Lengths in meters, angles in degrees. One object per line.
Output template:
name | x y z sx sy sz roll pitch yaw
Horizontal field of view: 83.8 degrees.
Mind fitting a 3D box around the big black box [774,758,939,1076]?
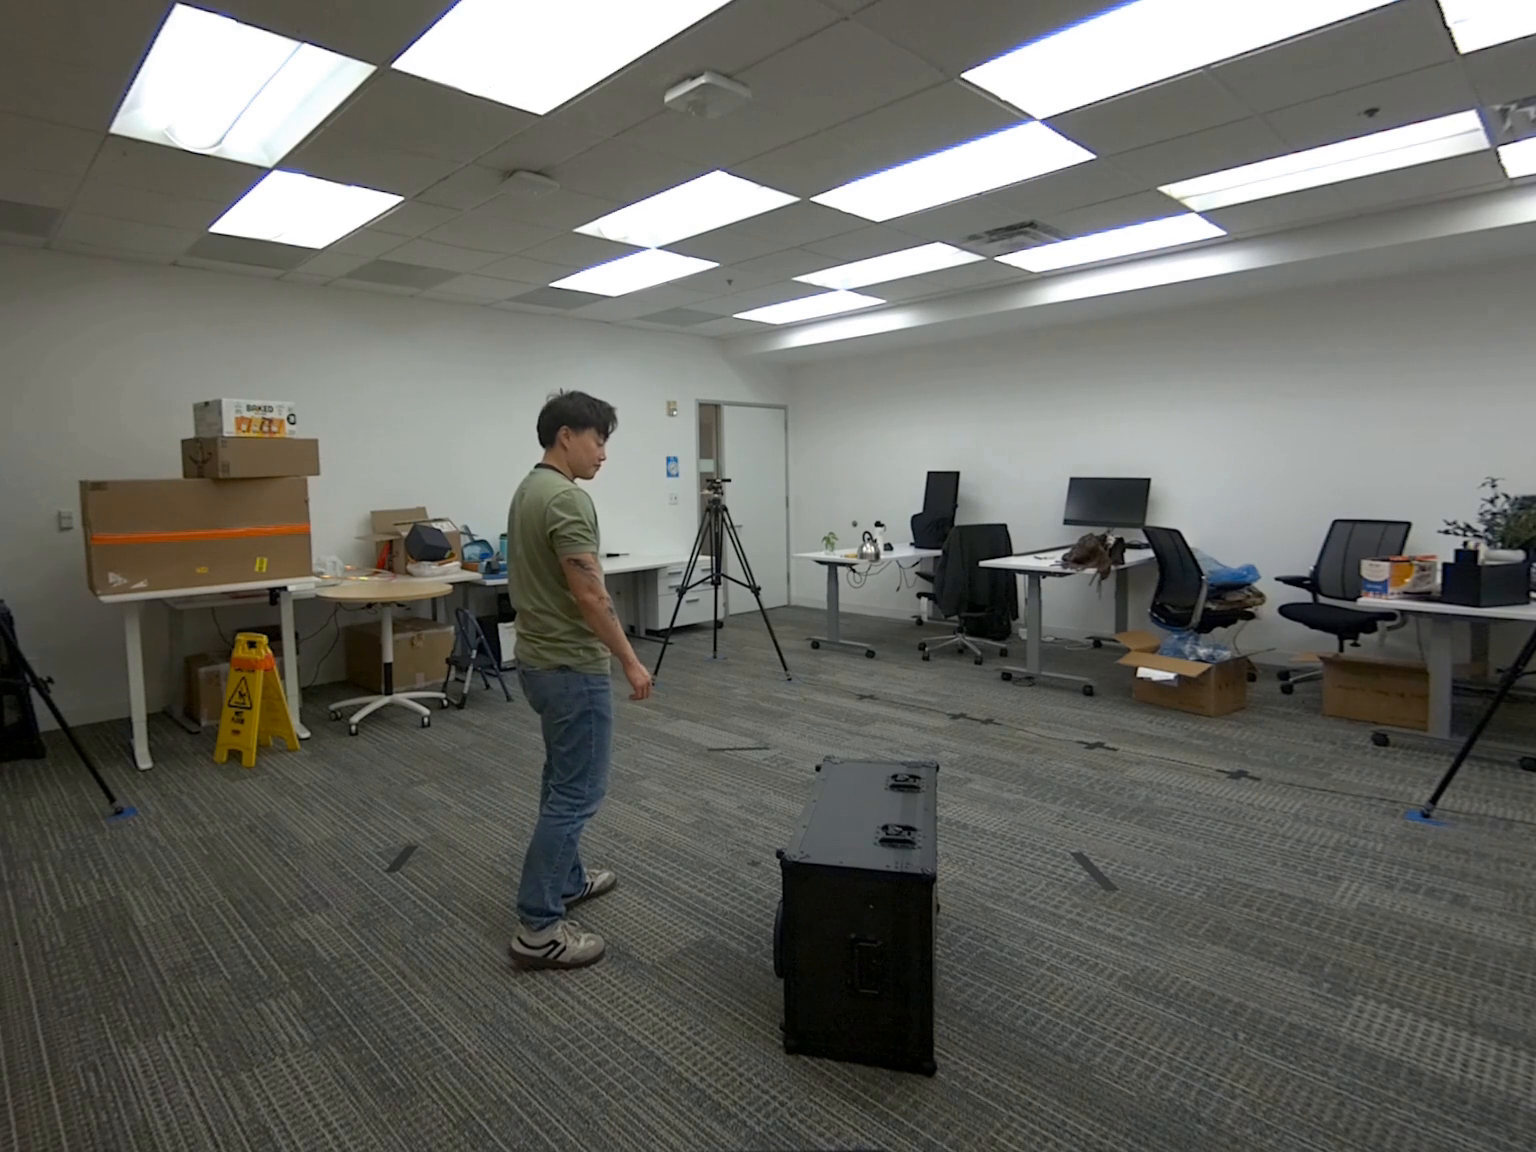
big black box | 0.270 0.869 2.372 0.401 0.519 0.855 -1 5 11
